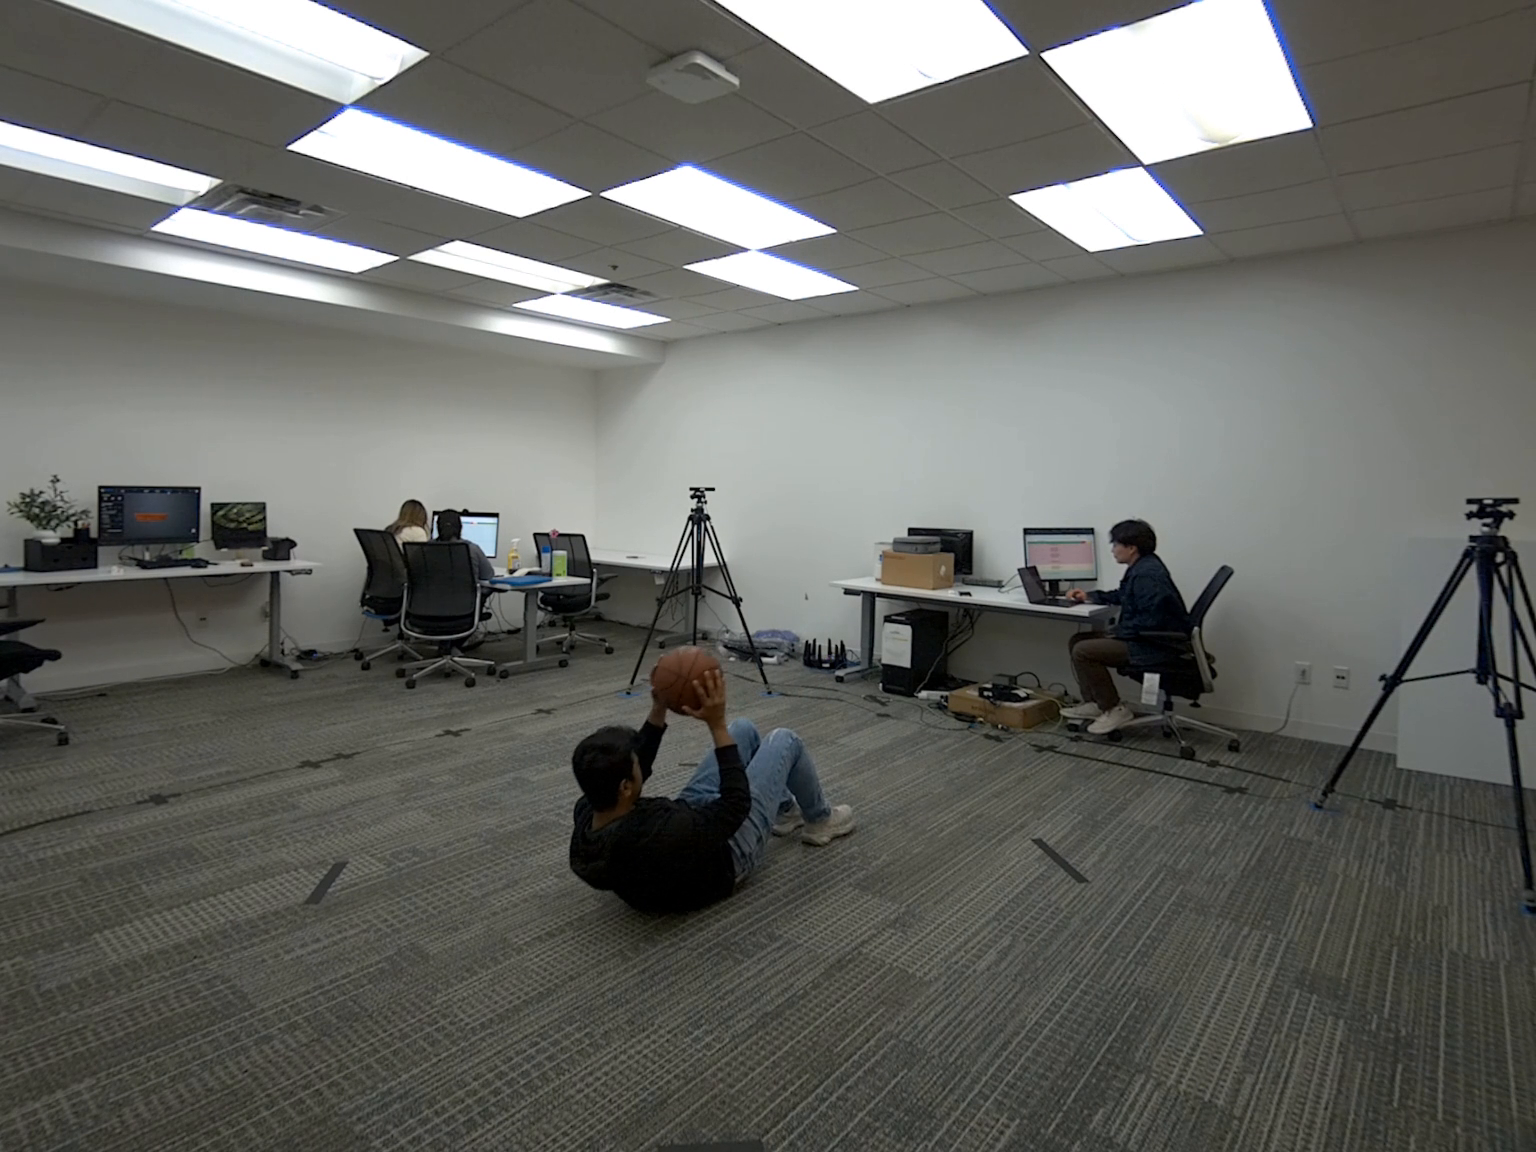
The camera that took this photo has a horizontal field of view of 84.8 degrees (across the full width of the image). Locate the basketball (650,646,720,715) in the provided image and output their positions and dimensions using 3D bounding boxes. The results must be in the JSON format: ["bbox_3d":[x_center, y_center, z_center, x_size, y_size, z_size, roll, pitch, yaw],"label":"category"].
[{"bbox_3d":[-0.281,0.365,2.909,0.235,0.235,0.237,1,4,-2],"label":"basketball"}]
